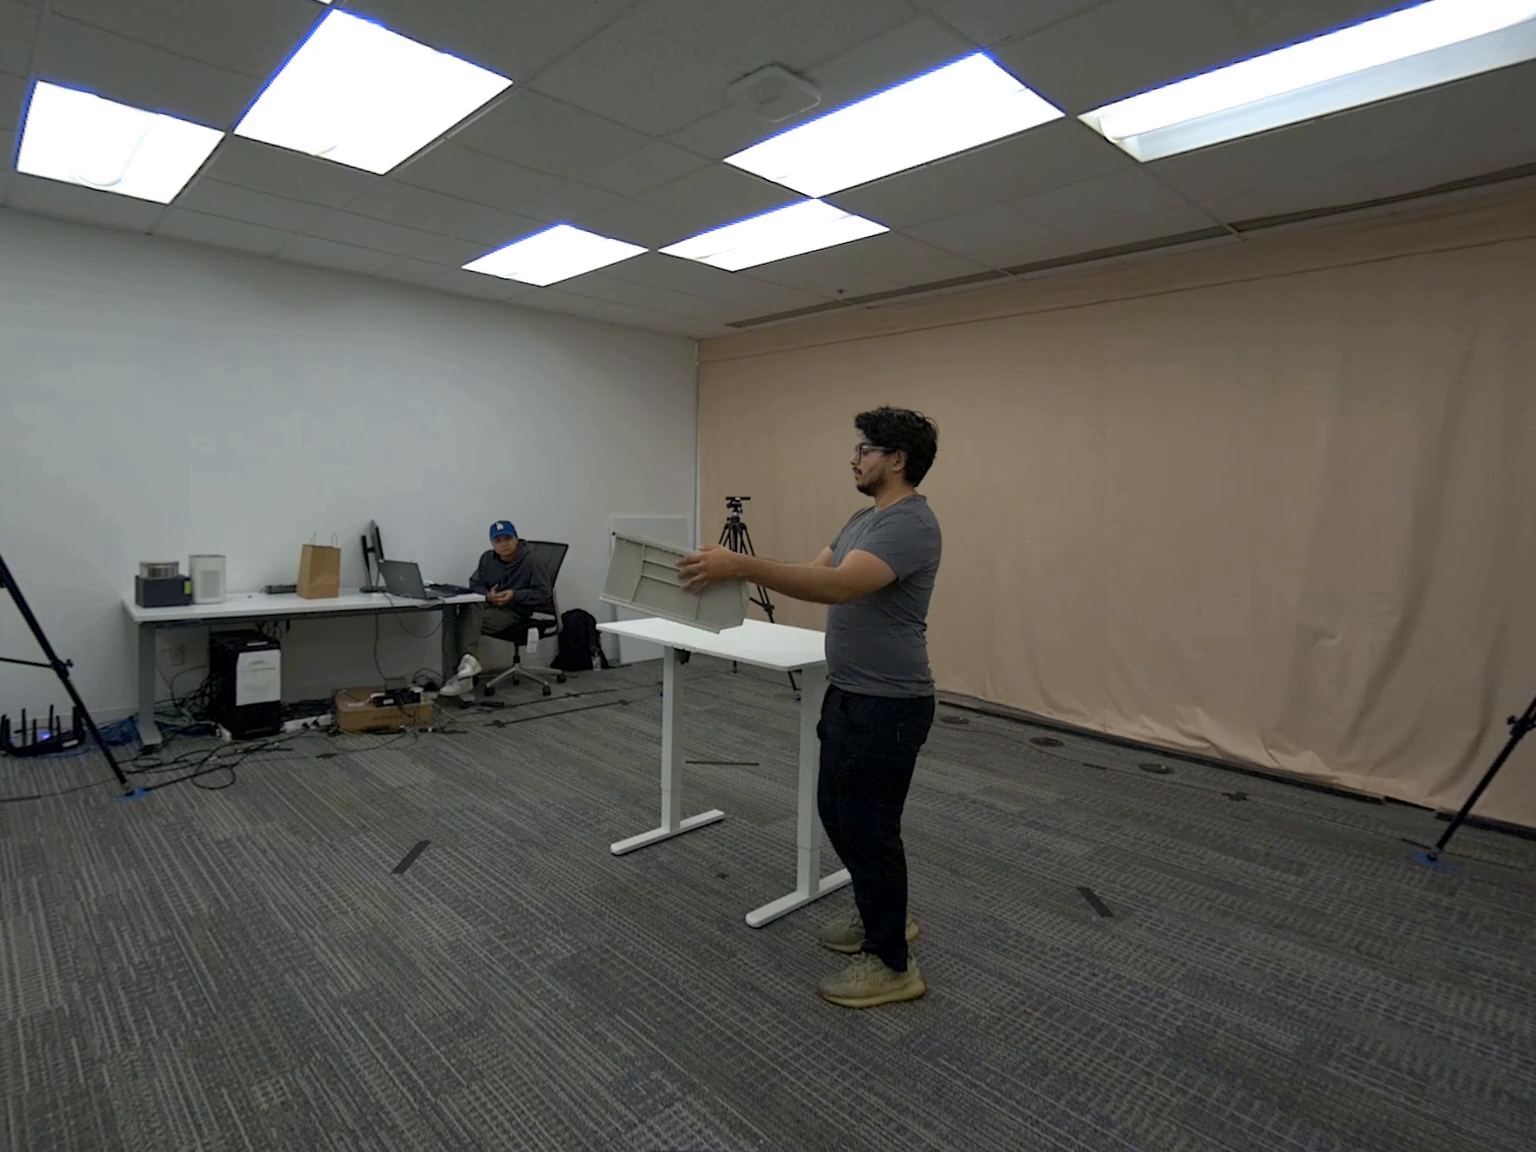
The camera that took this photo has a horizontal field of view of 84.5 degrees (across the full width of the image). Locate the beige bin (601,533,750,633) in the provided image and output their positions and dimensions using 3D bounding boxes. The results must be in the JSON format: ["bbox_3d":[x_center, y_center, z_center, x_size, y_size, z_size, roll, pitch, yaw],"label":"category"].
[{"bbox_3d":[-0.231,0.032,2.317,0.377,0.189,0.423,14,2,-1],"label":"beige bin"}]
